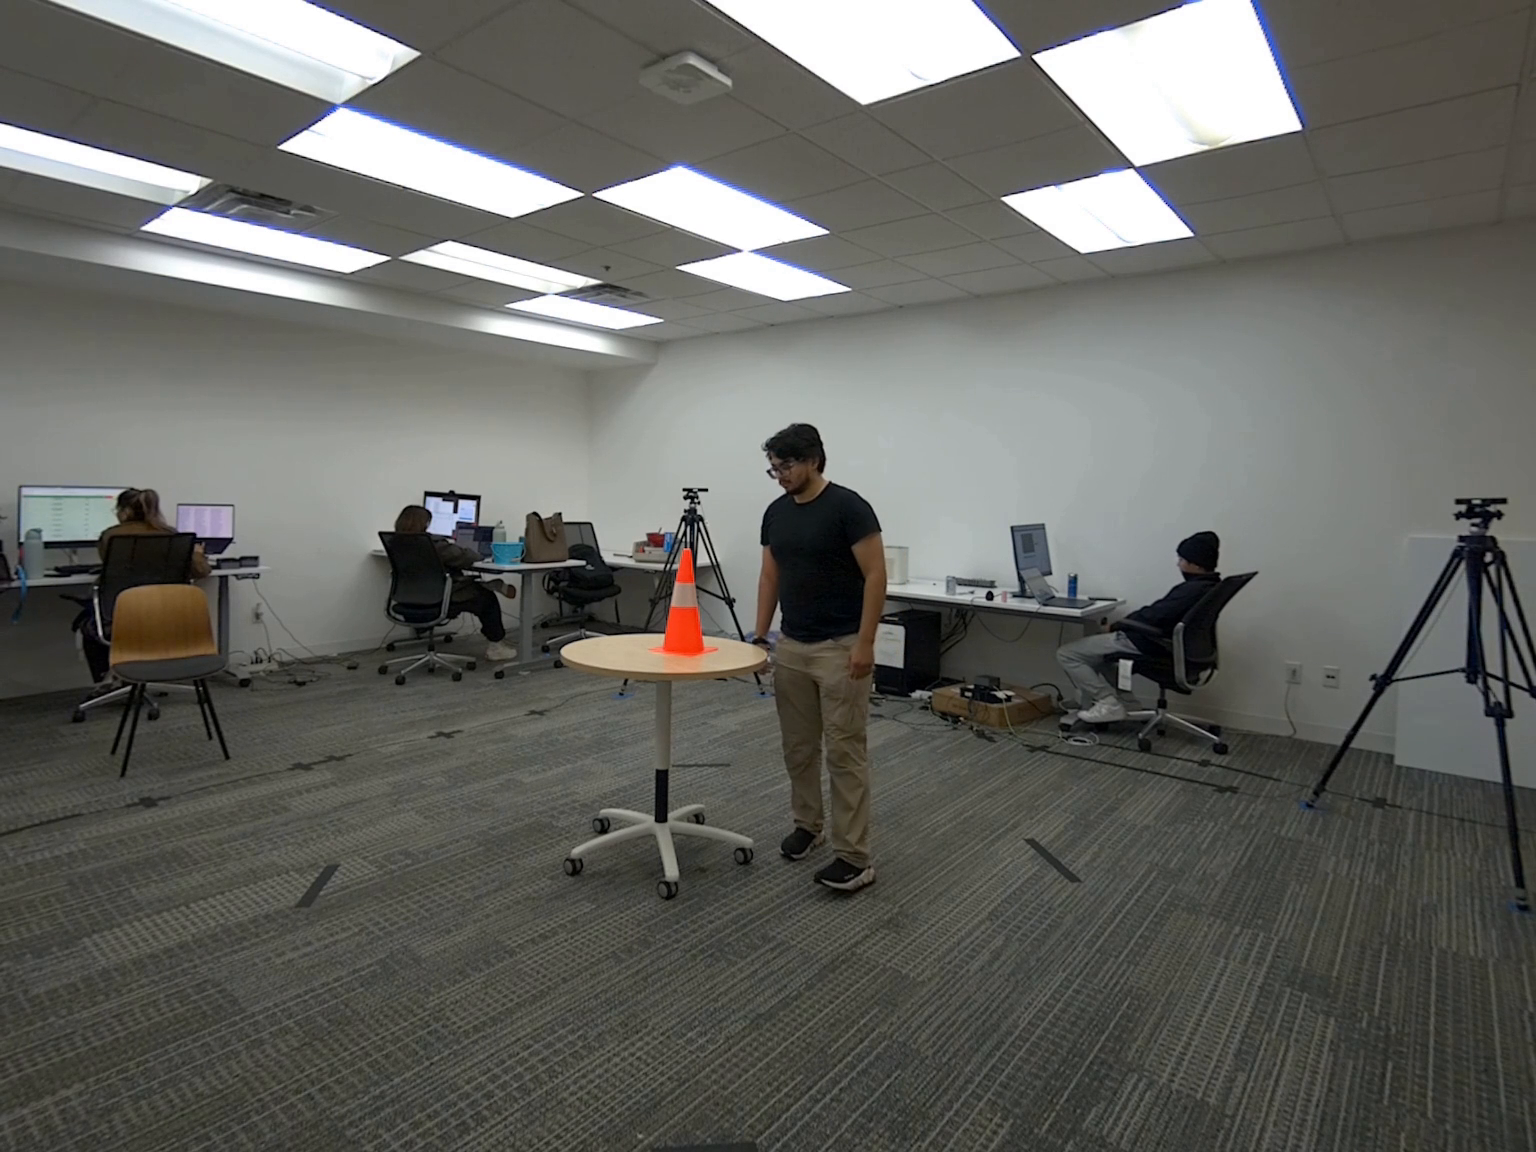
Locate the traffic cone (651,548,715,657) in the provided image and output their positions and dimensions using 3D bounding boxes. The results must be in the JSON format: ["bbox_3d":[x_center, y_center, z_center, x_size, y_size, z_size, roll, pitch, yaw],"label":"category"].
[{"bbox_3d":[-0.321,0.088,3.199,0.211,0.382,0.198,3,4,33],"label":"traffic cone"}]
